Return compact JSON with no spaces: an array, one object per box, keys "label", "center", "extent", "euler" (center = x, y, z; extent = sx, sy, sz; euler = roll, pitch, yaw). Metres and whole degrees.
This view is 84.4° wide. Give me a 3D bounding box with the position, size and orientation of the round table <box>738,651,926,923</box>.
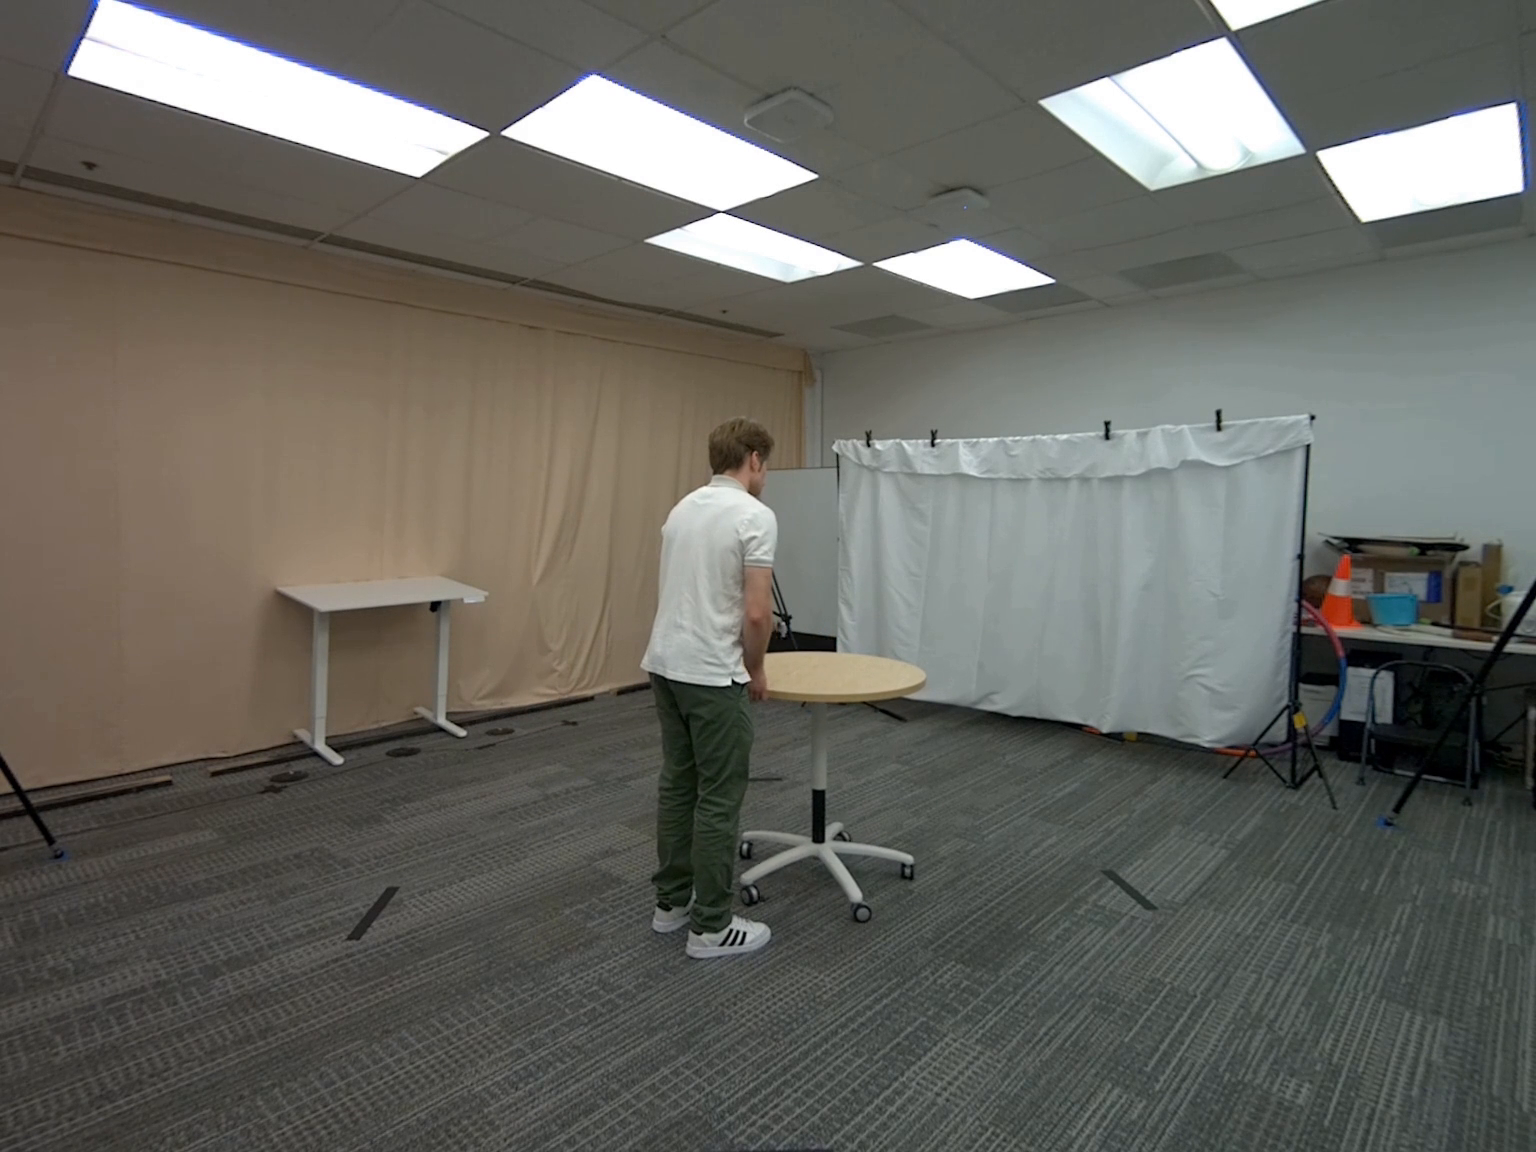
[{"label":"round table","center":[0.192,0.743,3.127],"extent":[0.763,0.792,0.766],"euler":[0,4,-2]}]
